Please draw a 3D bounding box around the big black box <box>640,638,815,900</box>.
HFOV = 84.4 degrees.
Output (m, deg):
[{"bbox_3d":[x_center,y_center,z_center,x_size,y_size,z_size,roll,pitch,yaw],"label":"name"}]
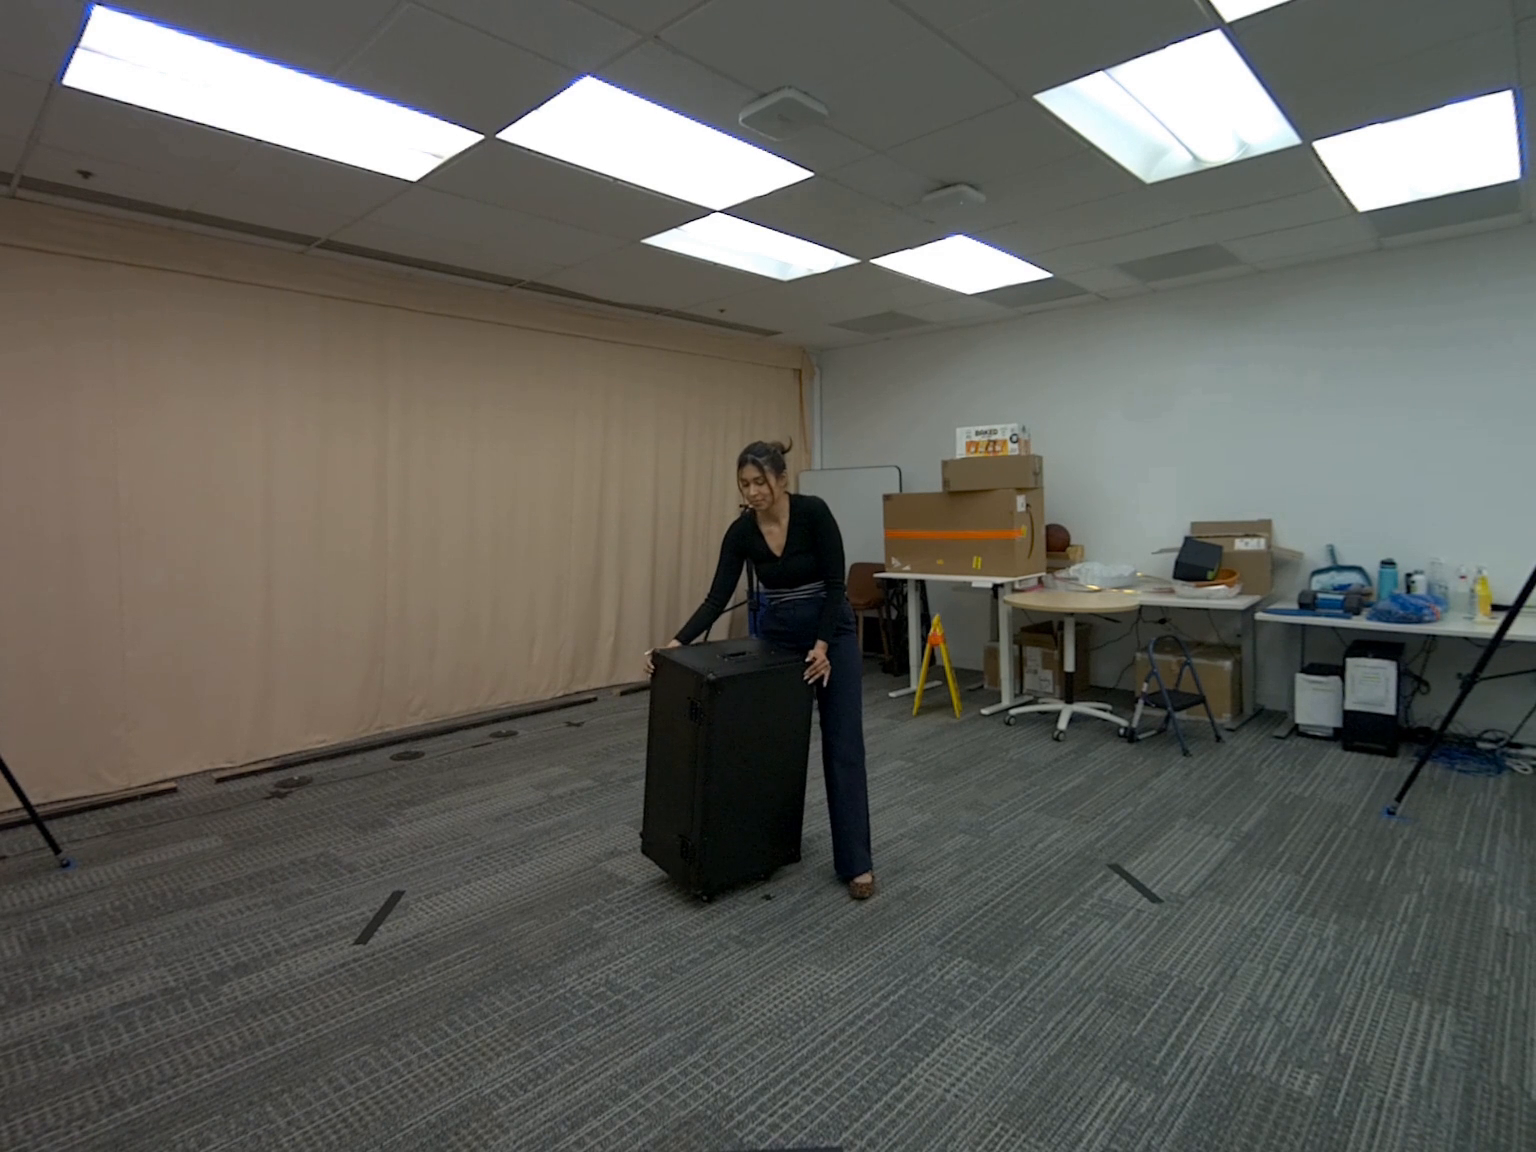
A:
[{"bbox_3d":[-0.153,0.648,3.043,0.506,0.857,0.410,-4,11,-37],"label":"big black box"}]
